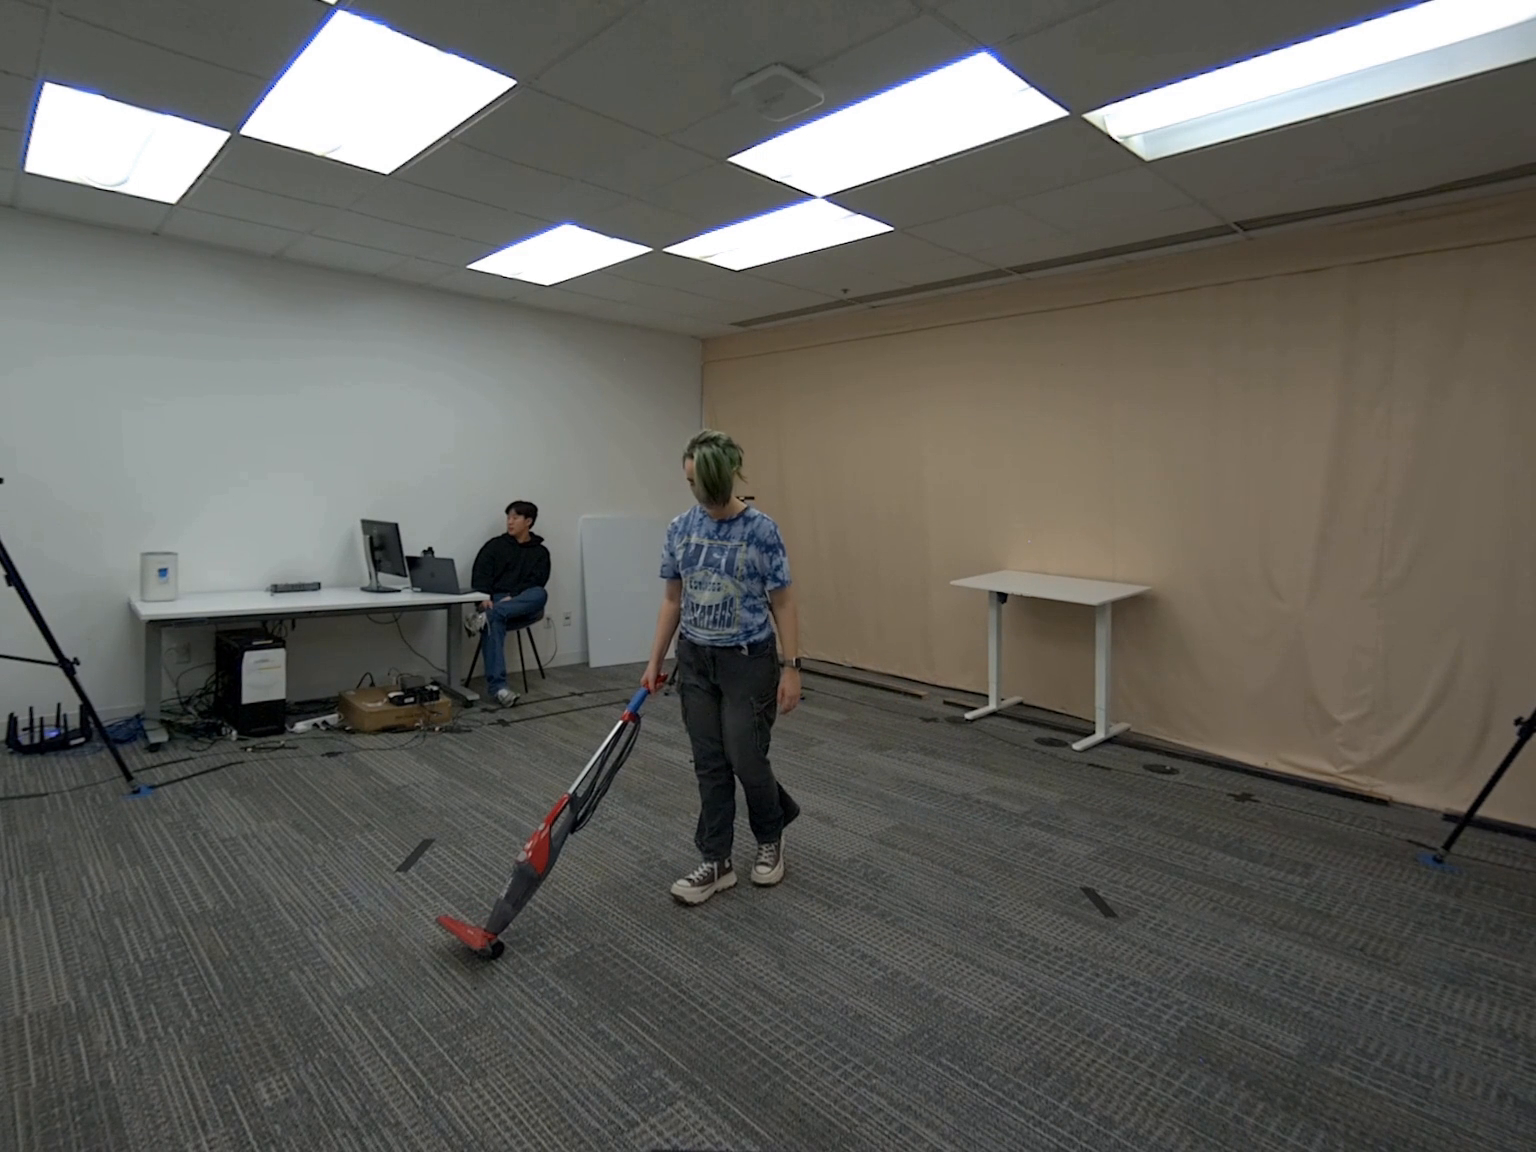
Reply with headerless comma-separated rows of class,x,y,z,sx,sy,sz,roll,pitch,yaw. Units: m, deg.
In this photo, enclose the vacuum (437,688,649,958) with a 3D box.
vacuum,-0.631,0.744,2.773,0.259,0.140,1.052,7,49,40
